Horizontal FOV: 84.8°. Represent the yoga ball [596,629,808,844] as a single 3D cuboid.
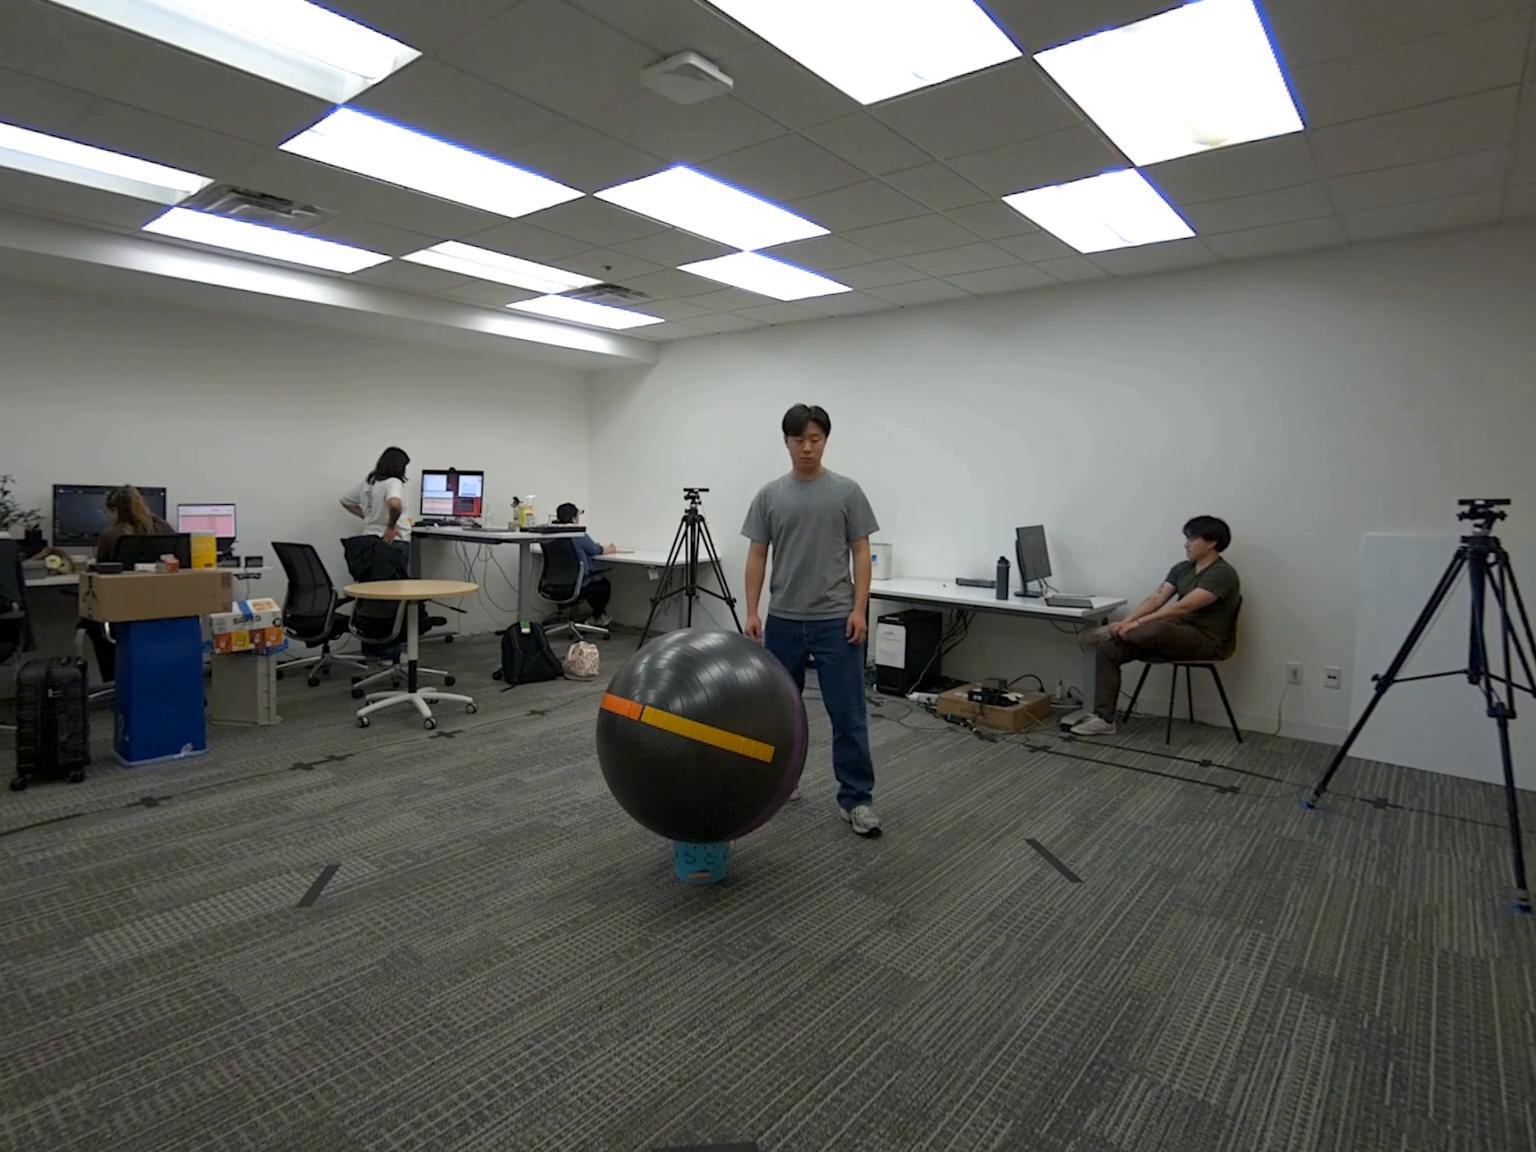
[{"bbox_3d":[-0.249,0.564,3.057,0.757,0.755,0.762,1,4,-2],"label":"yoga ball"}]
